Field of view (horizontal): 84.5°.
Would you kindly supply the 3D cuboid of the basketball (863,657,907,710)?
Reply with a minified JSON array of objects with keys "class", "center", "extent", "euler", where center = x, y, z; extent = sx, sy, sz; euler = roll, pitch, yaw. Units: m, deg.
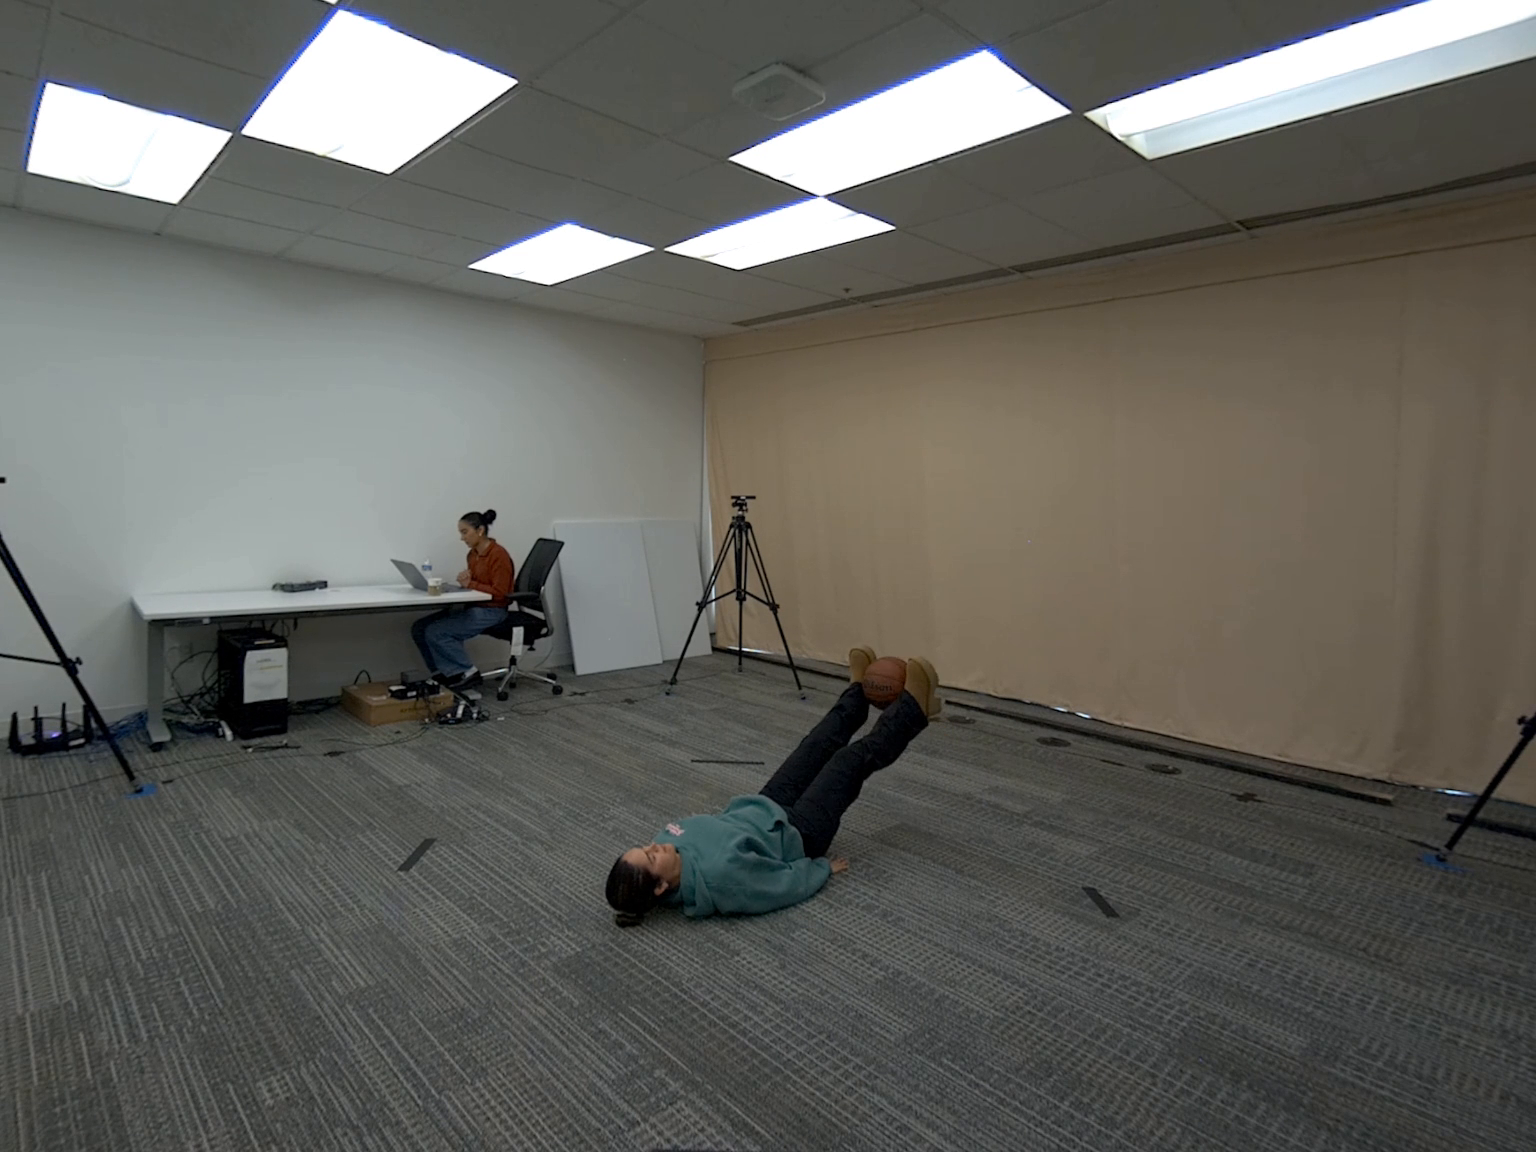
[{"class":"basketball","center":[0.514,0.466,3.629],"extent":[0.236,0.235,0.237],"euler":[1,5,-1]}]
